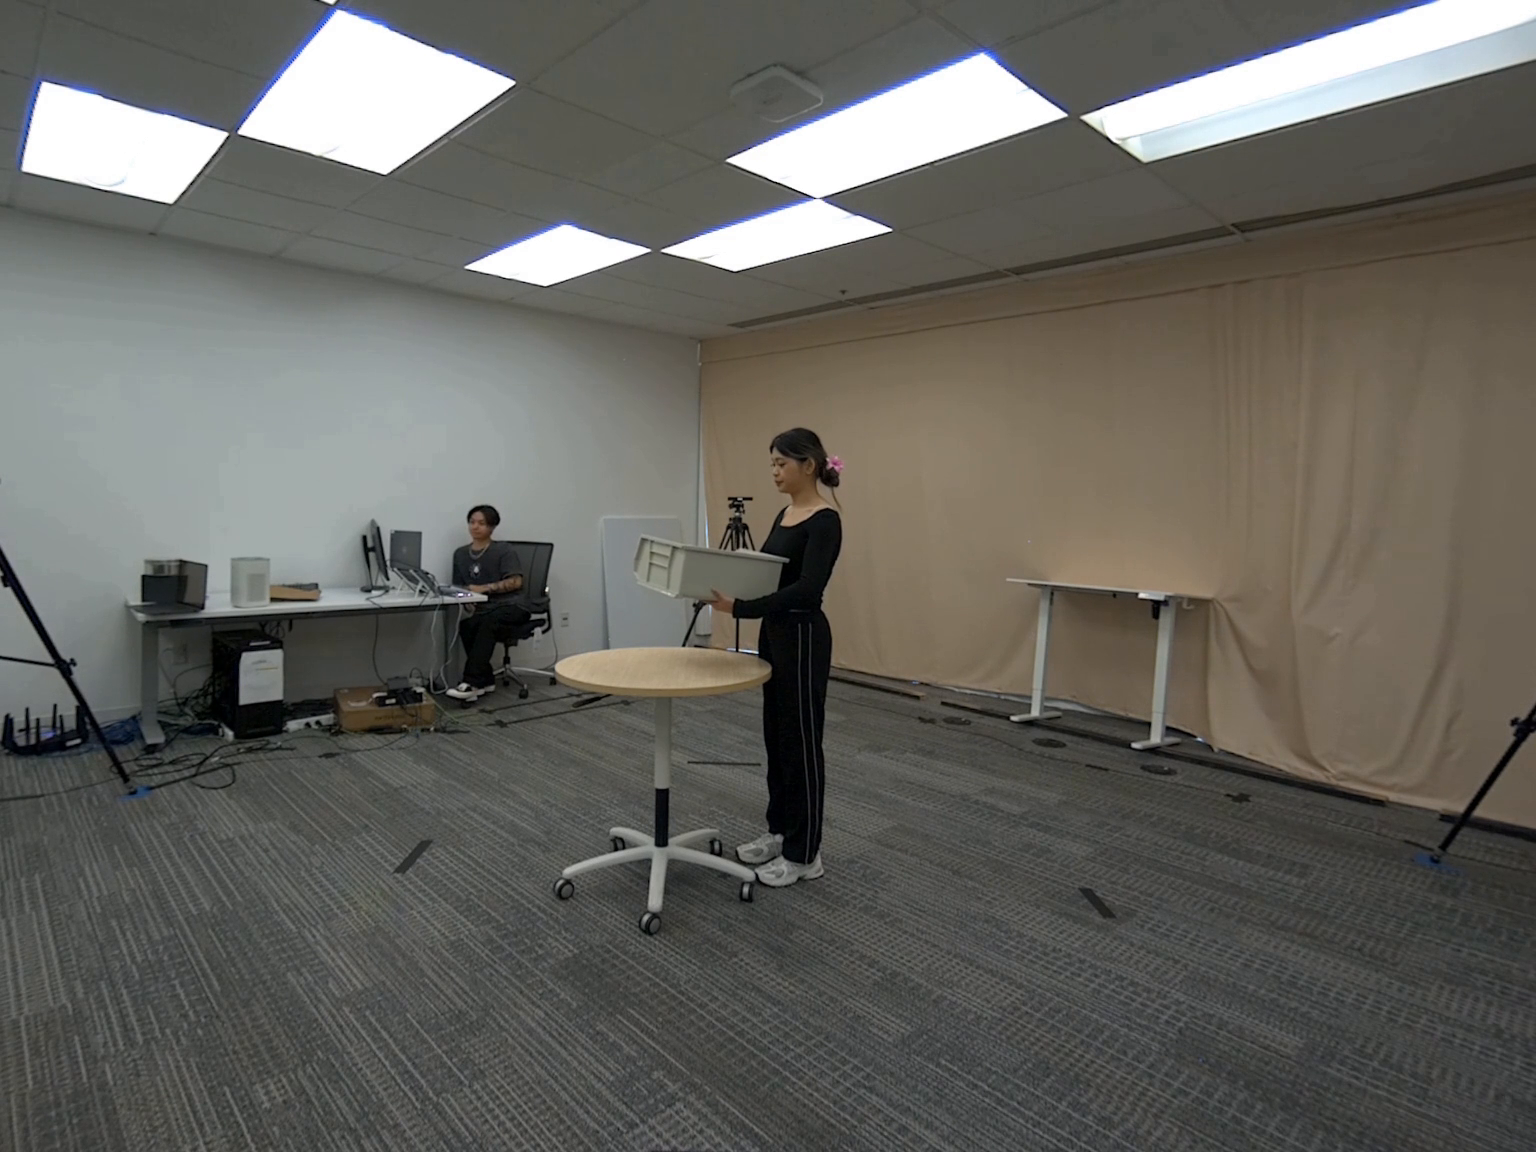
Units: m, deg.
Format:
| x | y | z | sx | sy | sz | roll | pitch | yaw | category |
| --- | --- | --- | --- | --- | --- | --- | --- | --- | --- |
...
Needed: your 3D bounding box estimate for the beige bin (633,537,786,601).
| x | y | z | sx | sy | sz | roll | pitch | yaw | category |
| --- | --- | --- | --- | --- | --- | --- | --- | --- | --- |
| -0.218 | -0.015 | 2.998 | 0.412 | 0.188 | 0.387 | 7 | 5 | -32 | beige bin |
